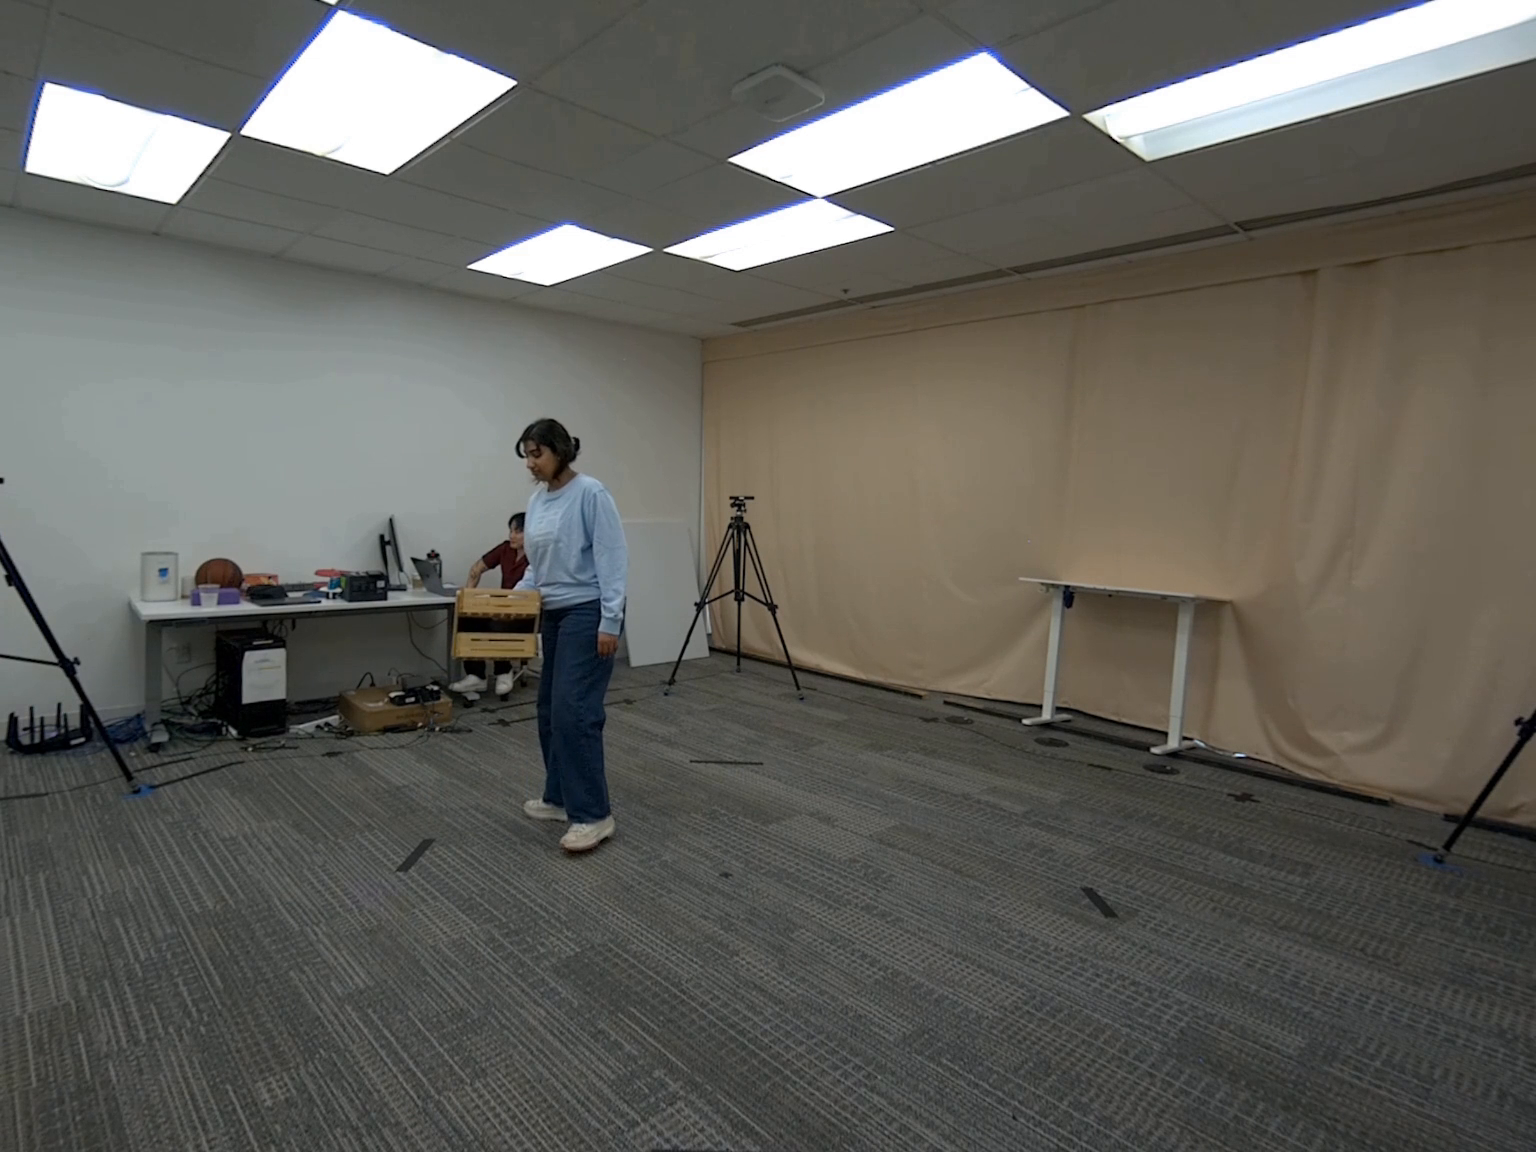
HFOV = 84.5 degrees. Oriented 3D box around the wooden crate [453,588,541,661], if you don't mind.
[{"bbox_3d":[-1.123,0.200,3.395,0.319,0.275,0.305,3,-10,-23],"label":"wooden crate"}]
